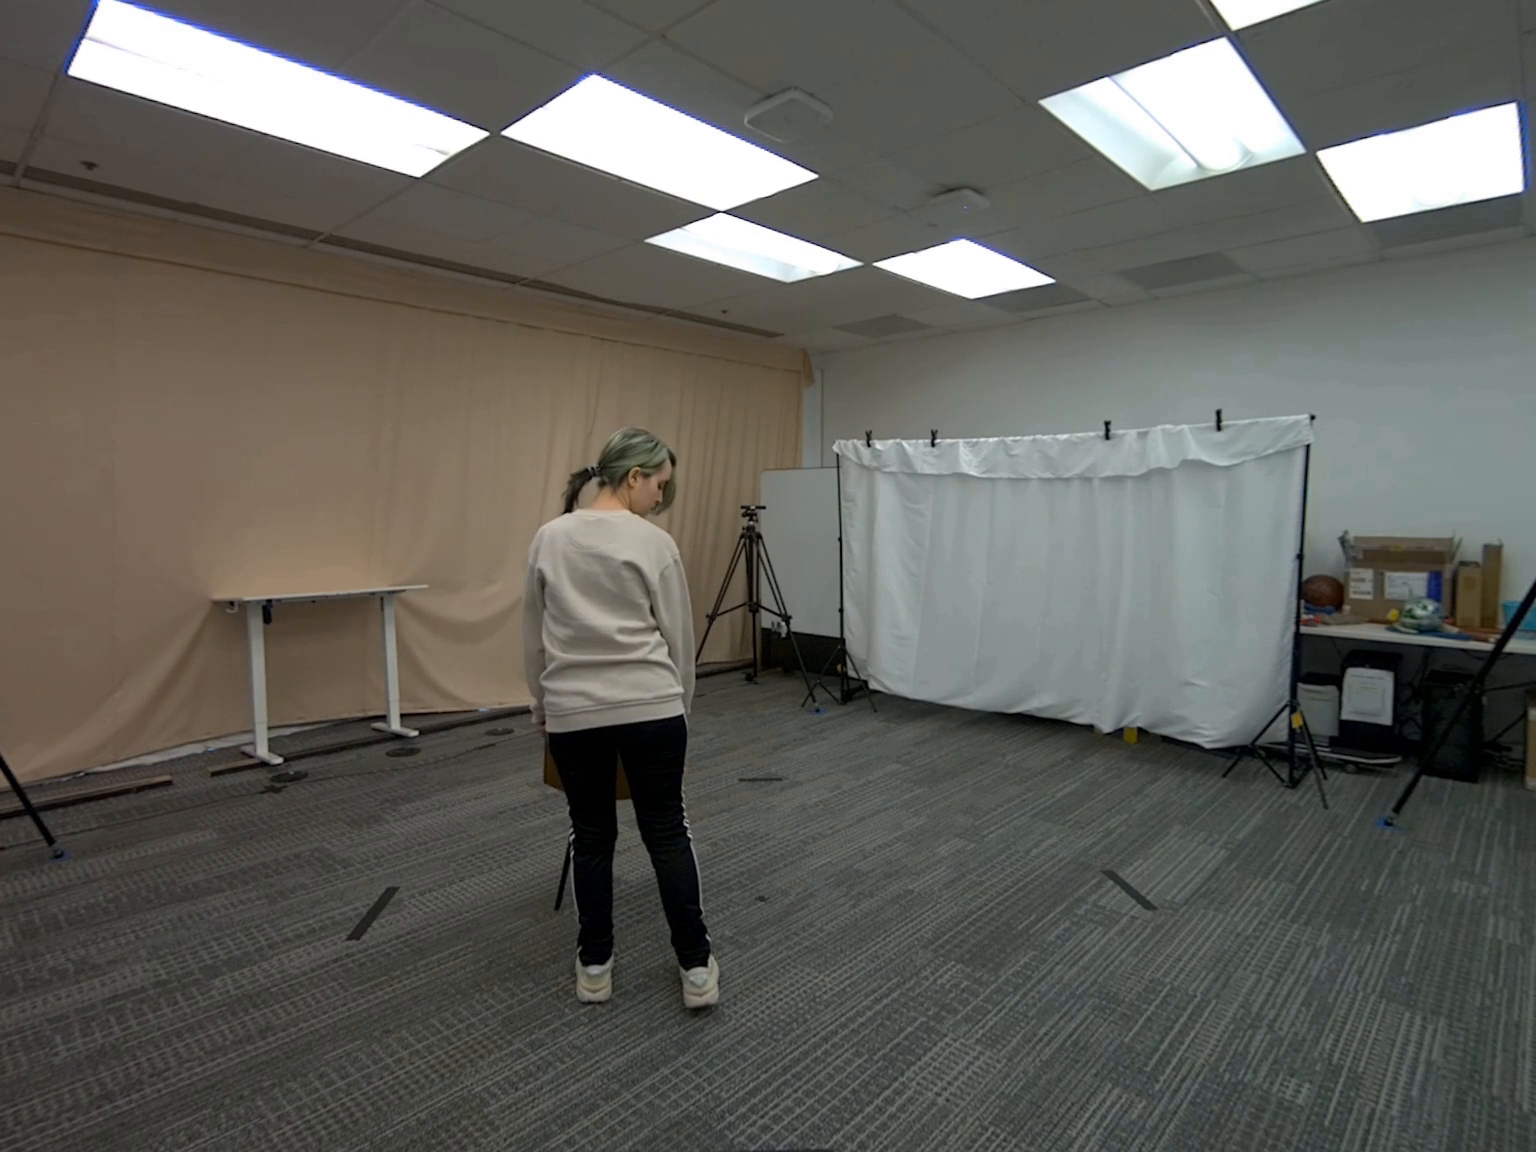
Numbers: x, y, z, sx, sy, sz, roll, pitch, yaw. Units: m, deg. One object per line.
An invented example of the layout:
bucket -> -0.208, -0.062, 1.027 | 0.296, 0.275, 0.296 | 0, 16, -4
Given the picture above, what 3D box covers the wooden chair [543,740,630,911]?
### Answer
wooden chair -> -0.515, 0.665, 2.928 | 0.476, 0.863, 0.534 | 0, 32, -5
